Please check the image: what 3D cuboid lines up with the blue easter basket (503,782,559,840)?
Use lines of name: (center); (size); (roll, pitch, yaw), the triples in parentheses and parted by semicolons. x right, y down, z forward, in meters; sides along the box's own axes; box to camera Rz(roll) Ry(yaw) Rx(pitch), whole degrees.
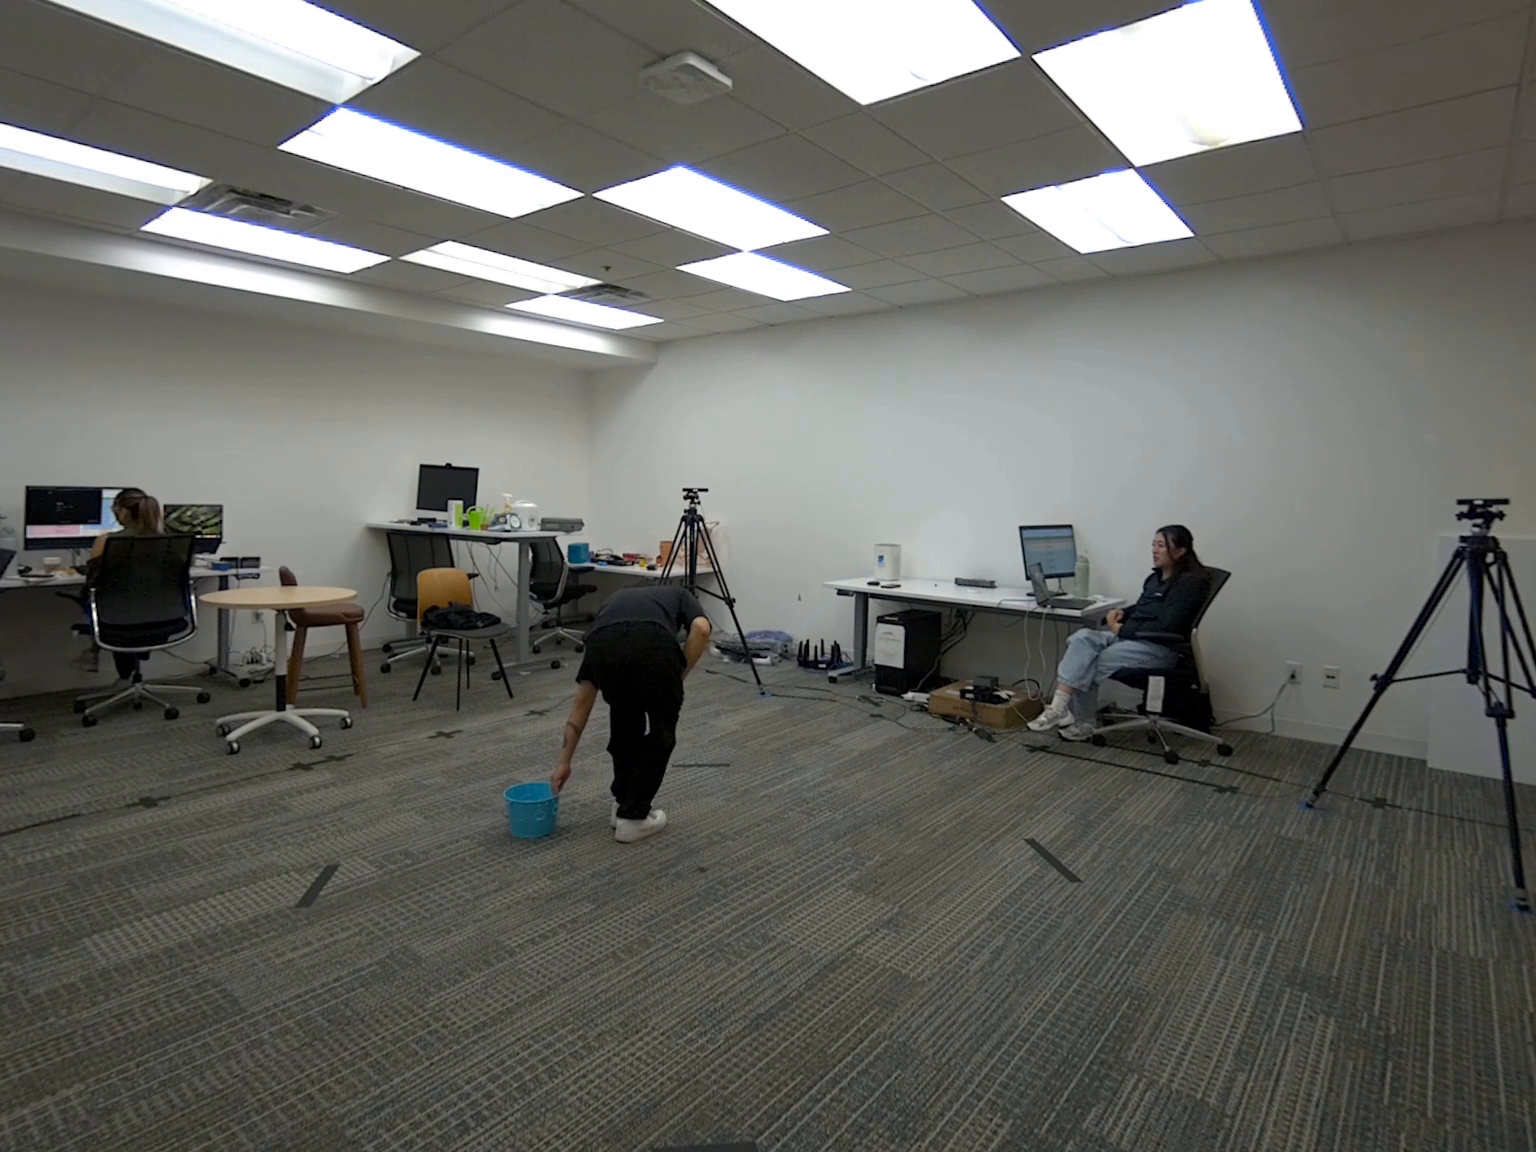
blue easter basket: (-0.971, 0.948, 3.453); (0.243, 0.155, 0.245); (0, 5, -2)
